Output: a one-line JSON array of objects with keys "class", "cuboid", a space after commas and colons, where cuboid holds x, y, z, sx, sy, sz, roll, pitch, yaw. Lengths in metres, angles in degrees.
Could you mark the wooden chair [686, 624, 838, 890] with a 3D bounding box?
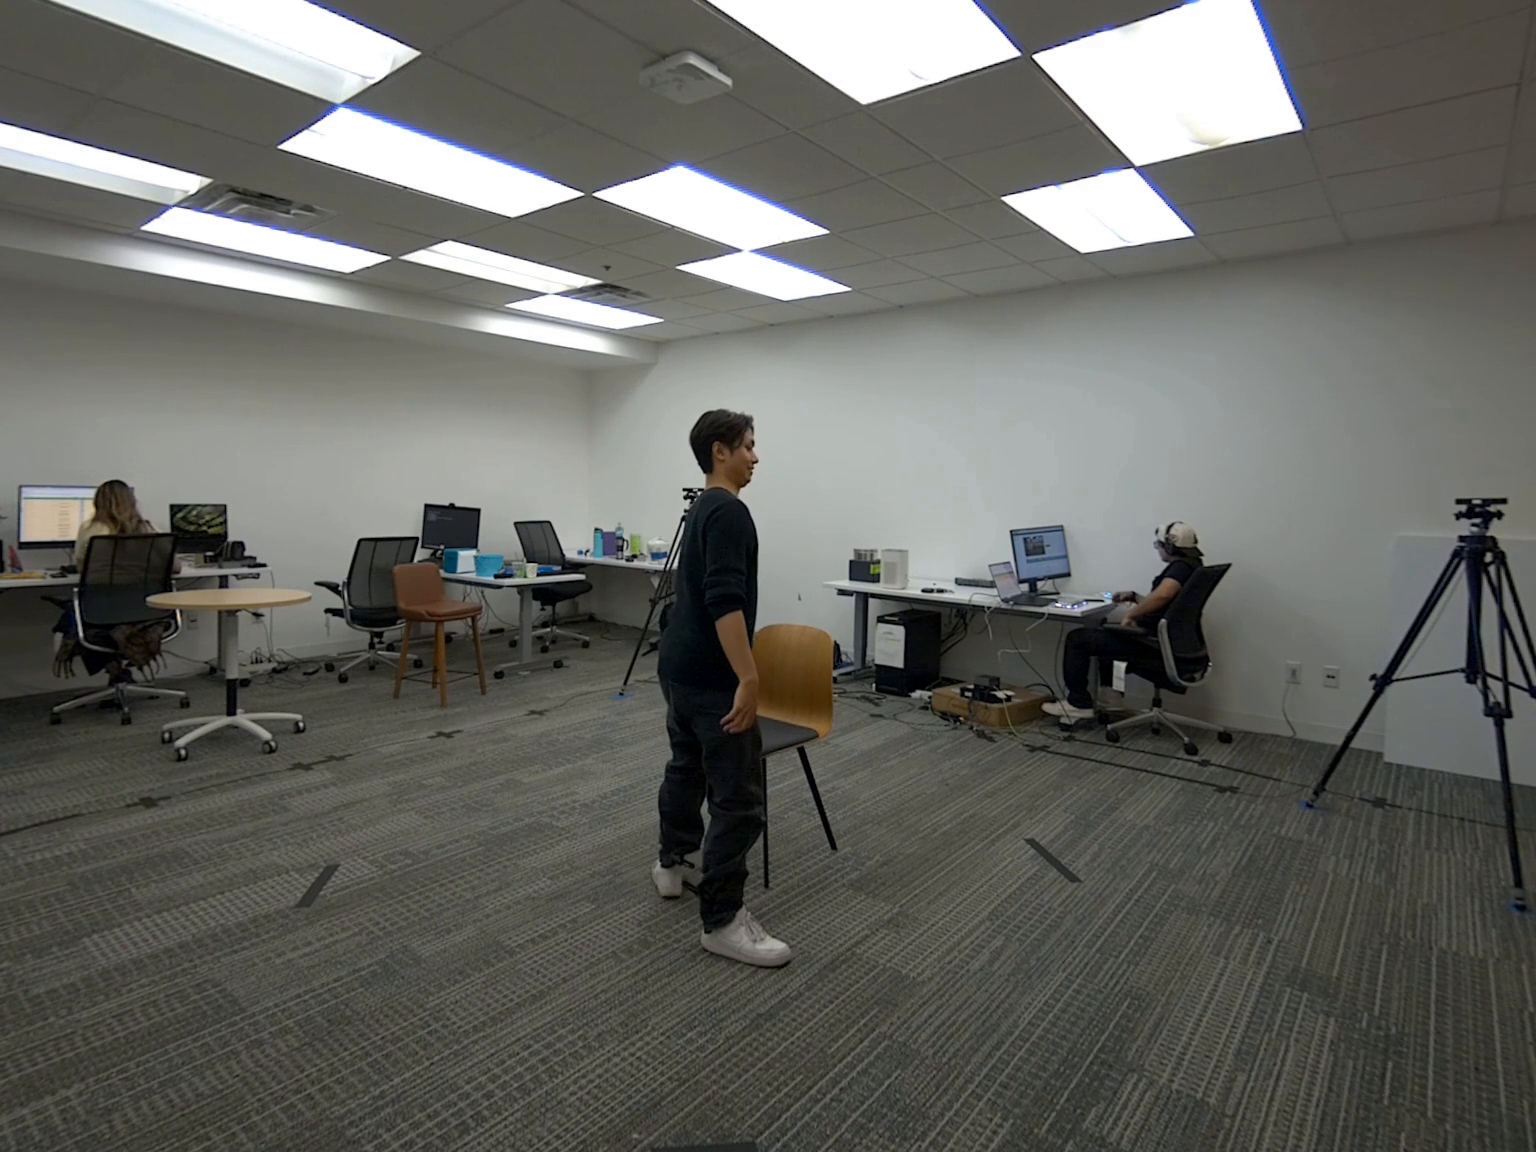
[{"class": "wooden chair", "cuboid": [-0.046, 0.633, 3.251, 0.494, 0.877, 0.506, 4, 0, 39]}]
